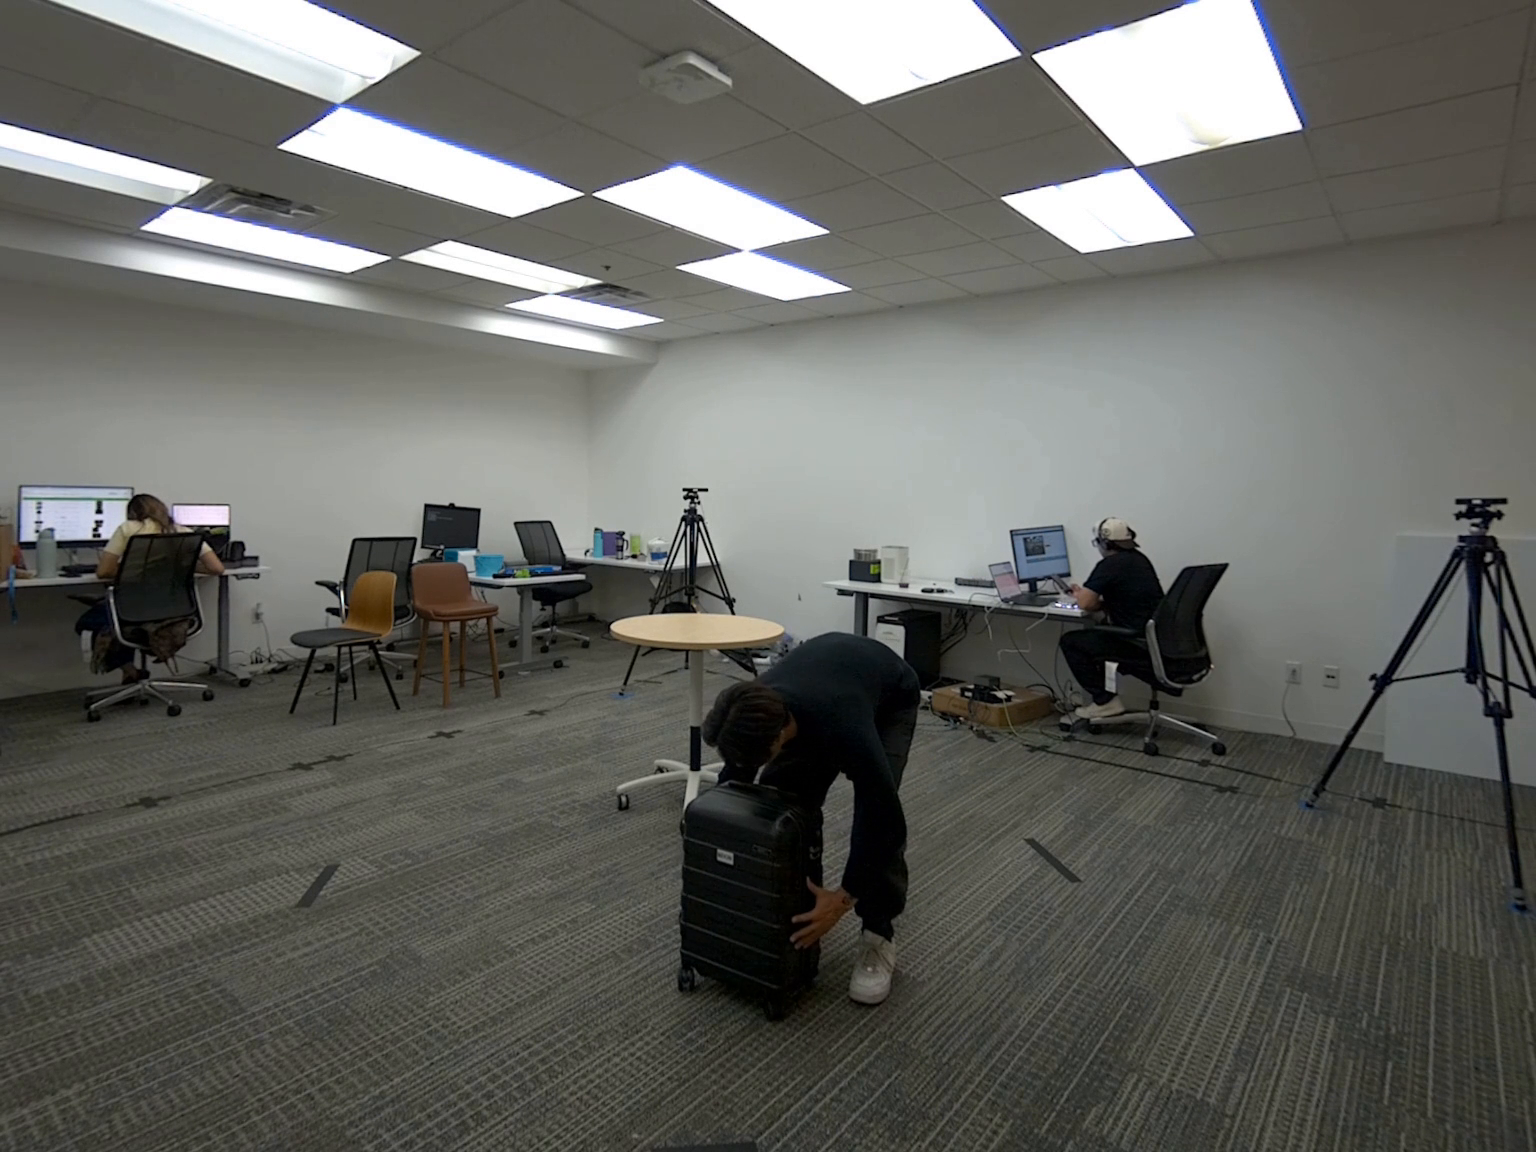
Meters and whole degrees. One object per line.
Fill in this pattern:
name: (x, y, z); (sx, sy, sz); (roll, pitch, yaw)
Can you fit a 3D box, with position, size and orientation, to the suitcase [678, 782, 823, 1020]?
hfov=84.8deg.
suitcase: (-0.049, 0.868, 2.375); (0.387, 0.547, 0.242); (5, 5, 30)
